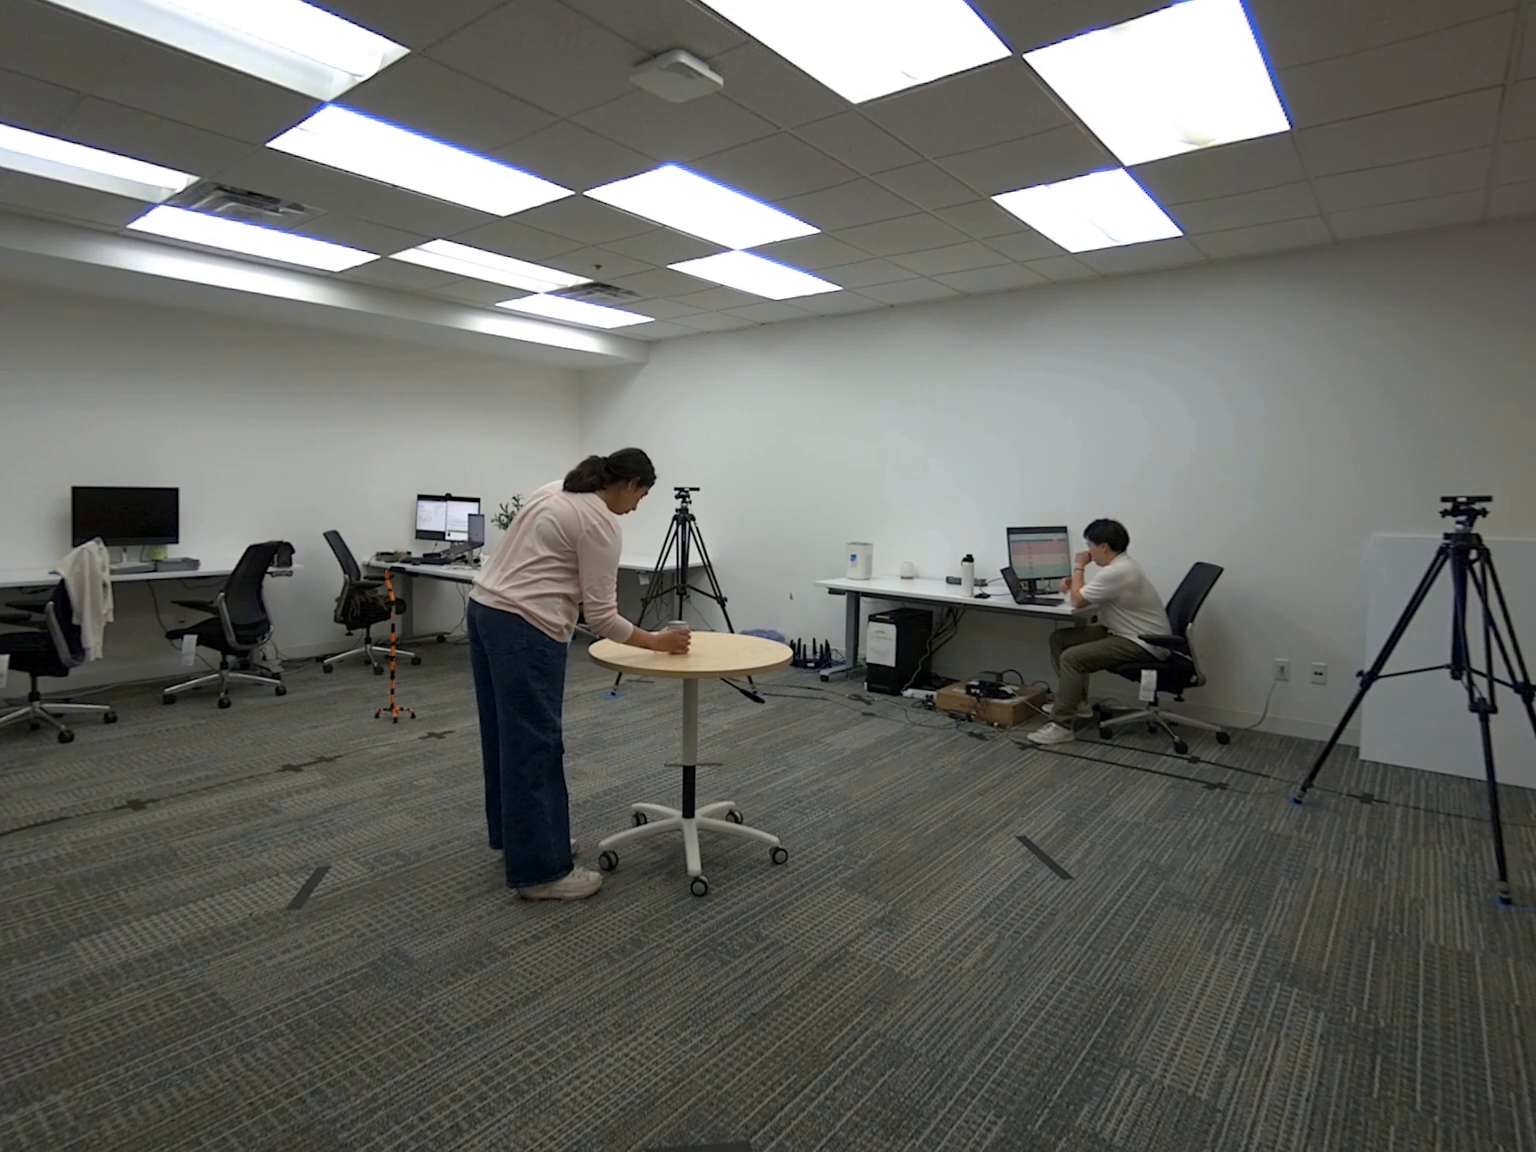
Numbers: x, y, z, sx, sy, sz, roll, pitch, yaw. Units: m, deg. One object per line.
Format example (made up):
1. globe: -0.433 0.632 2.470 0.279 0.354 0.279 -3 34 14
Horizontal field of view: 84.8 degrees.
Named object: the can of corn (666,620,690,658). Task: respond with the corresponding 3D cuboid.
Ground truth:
1. can of corn: -0.336 0.231 3.117 0.074 0.109 0.075 -4 15 -1
